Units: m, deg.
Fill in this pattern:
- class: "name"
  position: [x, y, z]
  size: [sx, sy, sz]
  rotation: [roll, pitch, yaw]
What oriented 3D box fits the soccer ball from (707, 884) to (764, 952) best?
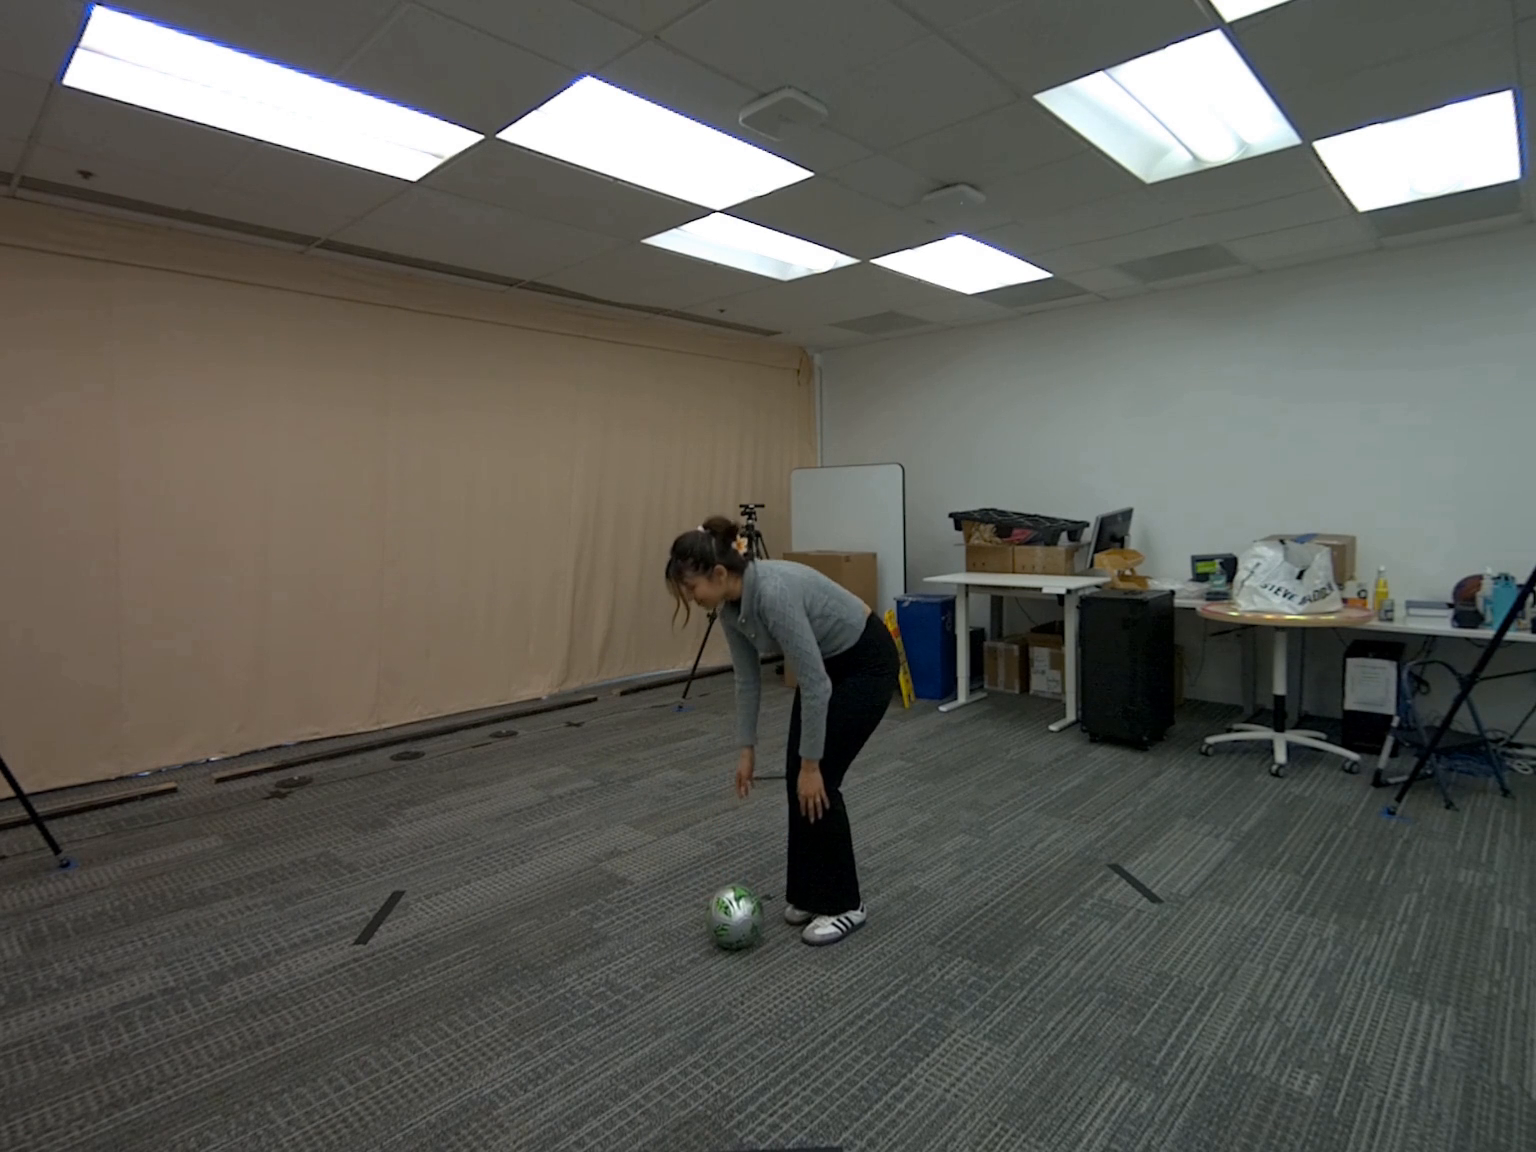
- class: "soccer ball"
  position: [-0.101, 1.077, 2.665]
  size: [0.187, 0.187, 0.188]
  rotation: [-1, 4, -2]
